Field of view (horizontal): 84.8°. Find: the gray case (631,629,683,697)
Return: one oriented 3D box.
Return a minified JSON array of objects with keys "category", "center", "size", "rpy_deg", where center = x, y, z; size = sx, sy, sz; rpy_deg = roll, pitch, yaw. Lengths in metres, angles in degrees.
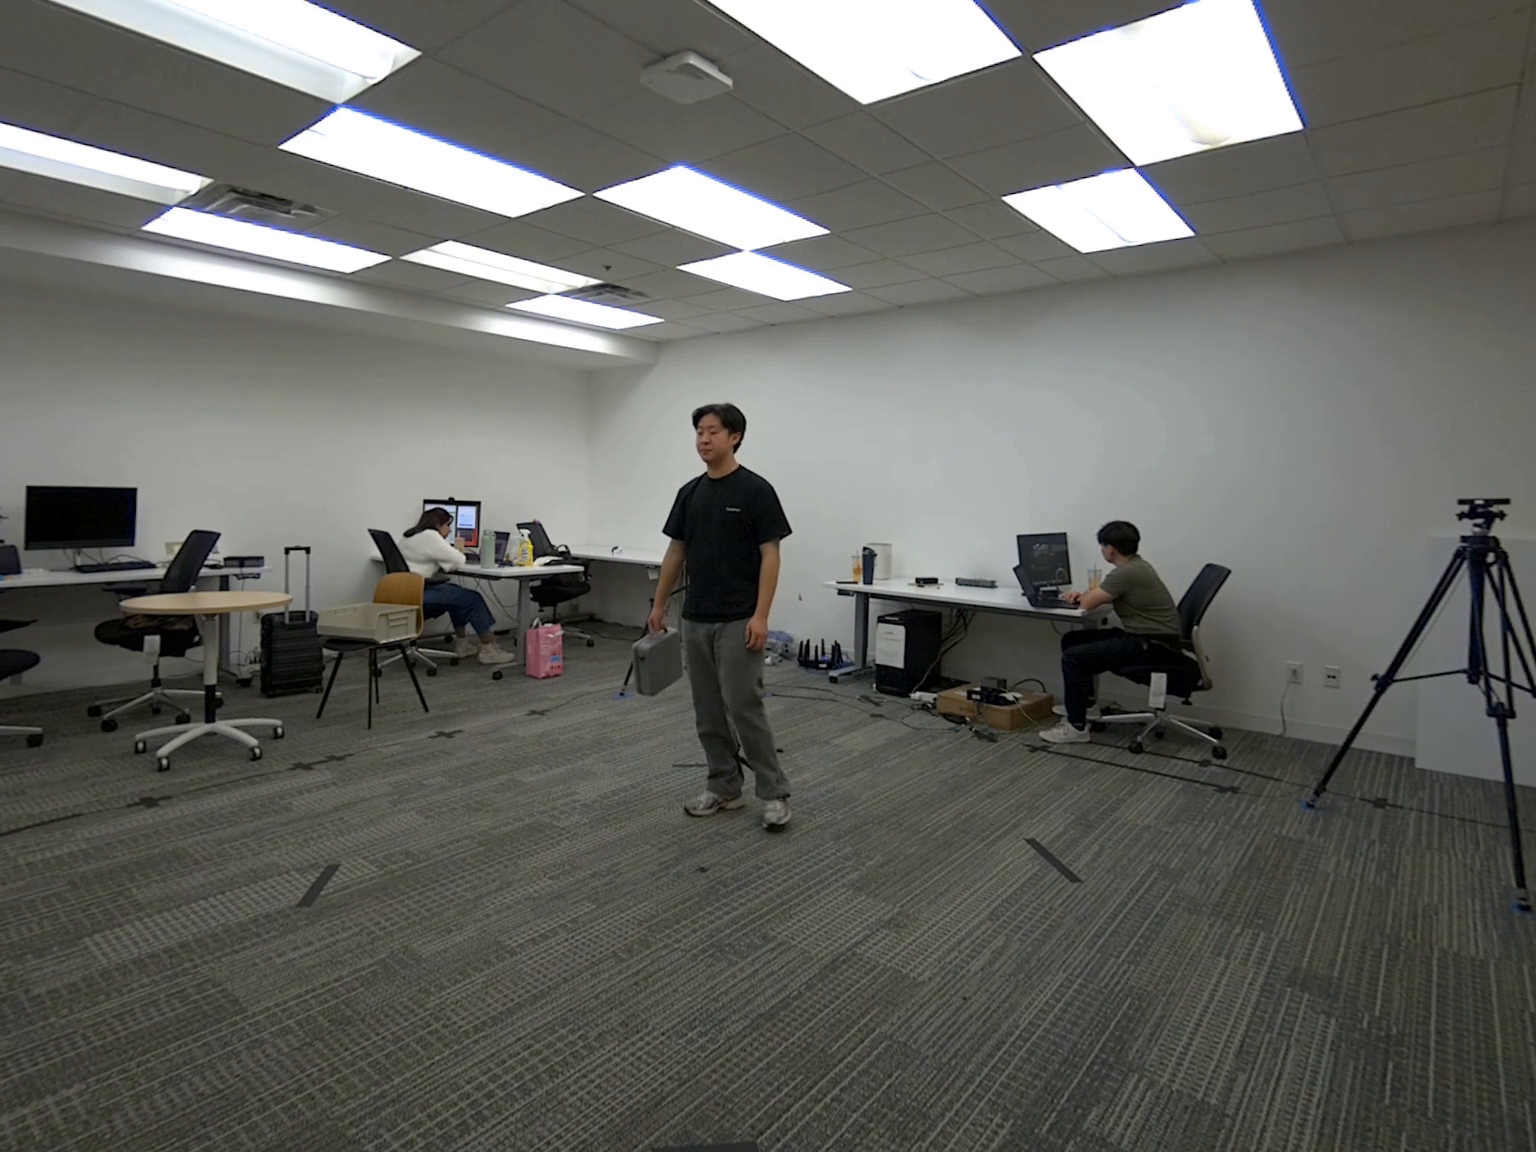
[{"category":"gray case","center":[-0.506,0.376,3.870],"size":[0.106,0.282,0.259],"rpy_deg":[10,22,30]}]
